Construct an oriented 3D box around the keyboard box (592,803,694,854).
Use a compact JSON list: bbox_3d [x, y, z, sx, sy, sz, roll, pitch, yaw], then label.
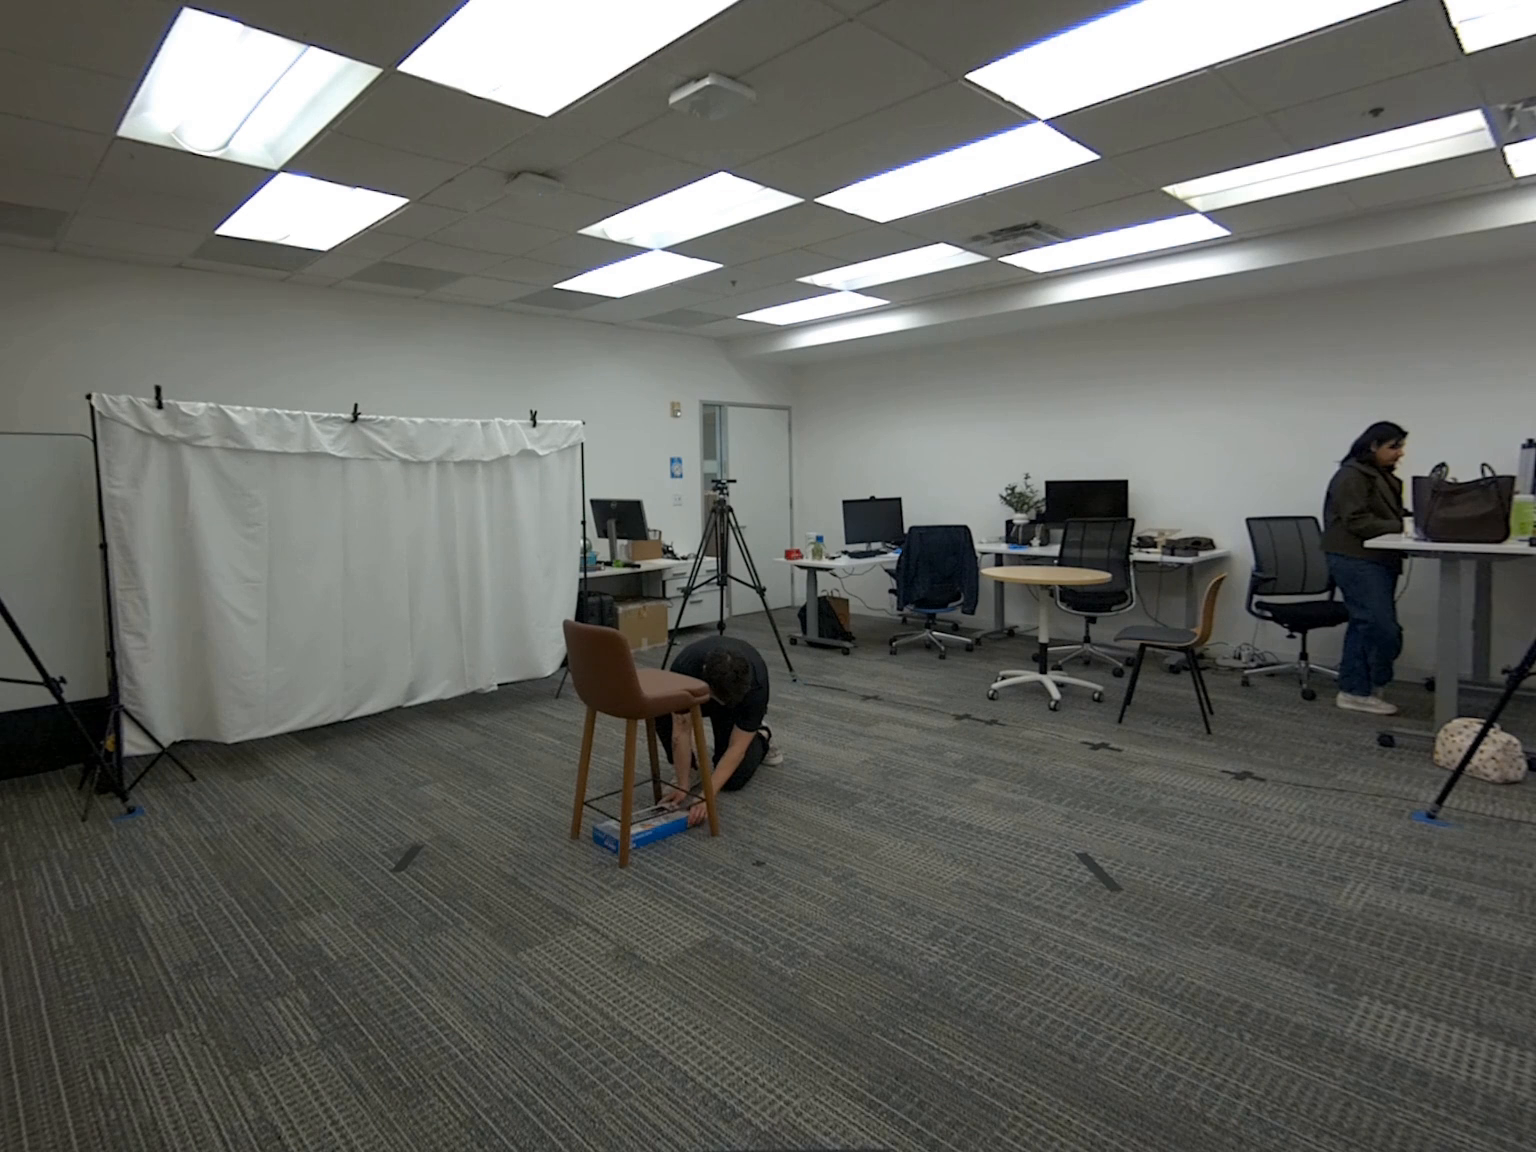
[{"bbox_3d":[-0.475,1.002,3.417,0.426,0.059,0.181,-8,9,-43],"label":"keyboard box"}]
